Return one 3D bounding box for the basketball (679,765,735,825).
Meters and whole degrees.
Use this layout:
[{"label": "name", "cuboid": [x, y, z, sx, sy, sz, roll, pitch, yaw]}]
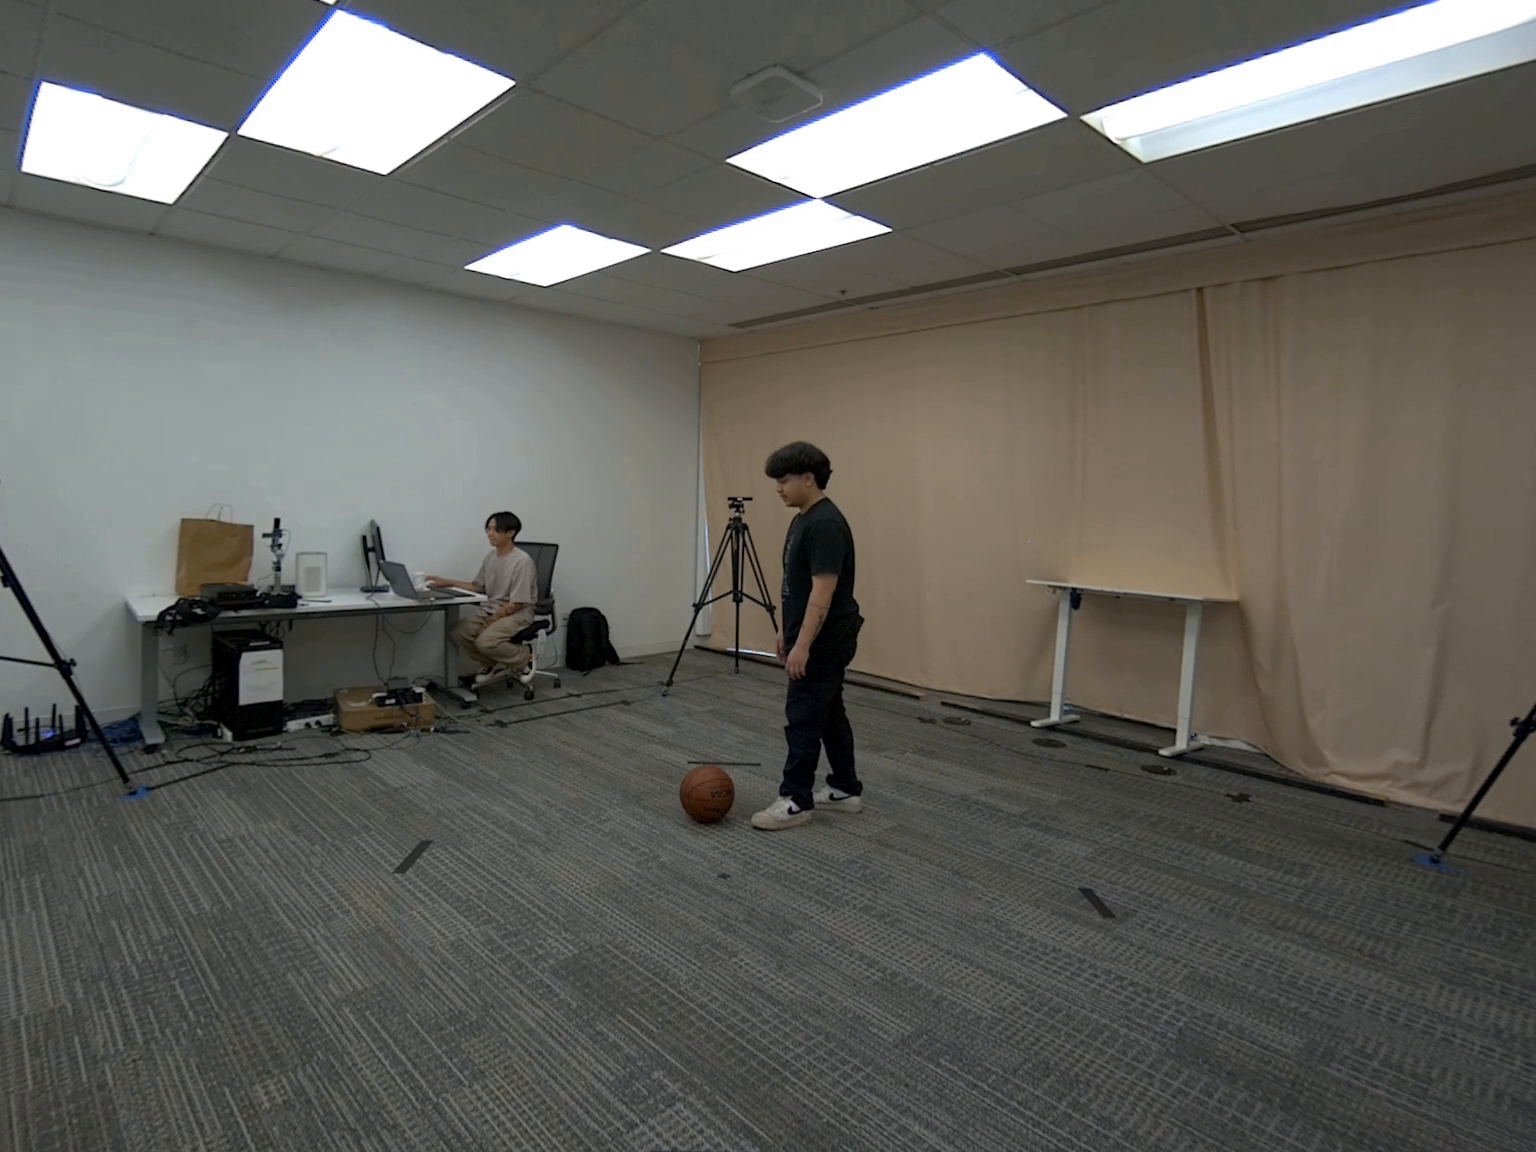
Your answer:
[{"label": "basketball", "cuboid": [-0.266, 0.936, 3.636, 0.236, 0.235, 0.237, 1, 4, -1]}]
